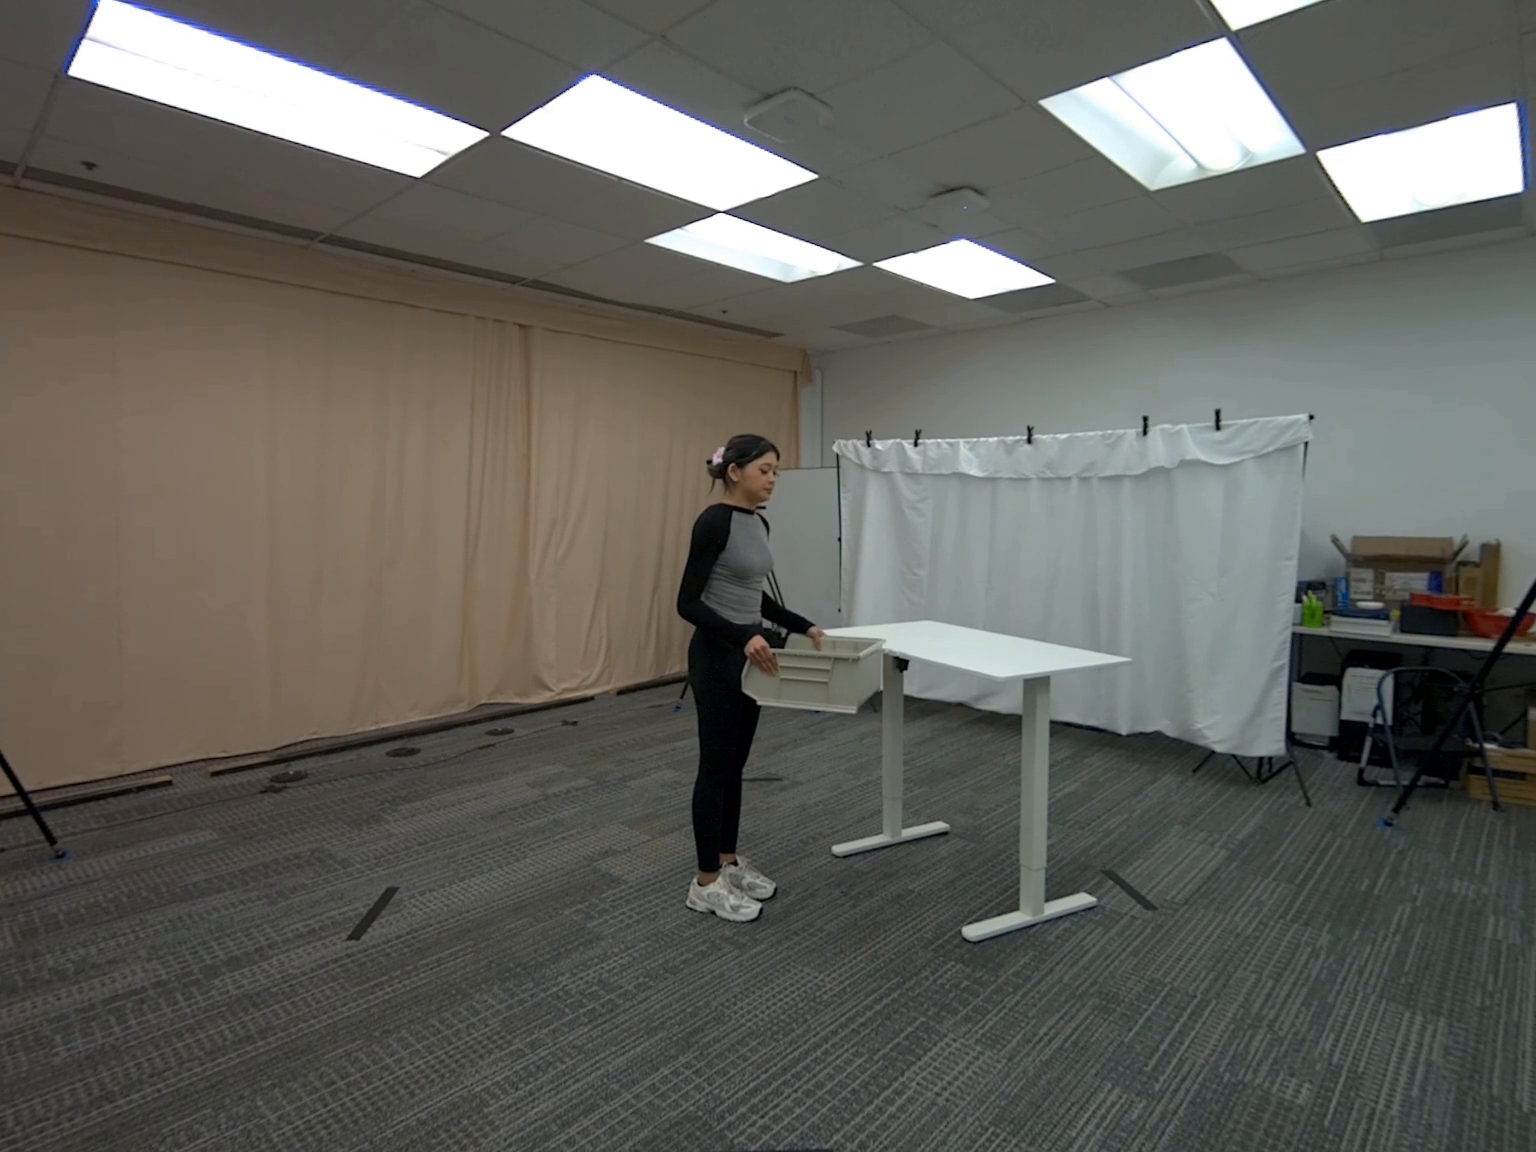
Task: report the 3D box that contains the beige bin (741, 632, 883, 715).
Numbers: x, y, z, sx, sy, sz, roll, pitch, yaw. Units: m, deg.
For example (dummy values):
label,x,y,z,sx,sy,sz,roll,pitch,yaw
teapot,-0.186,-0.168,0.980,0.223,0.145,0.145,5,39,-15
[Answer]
label,x,y,z,sx,sy,sz,roll,pitch,yaw
beige bin,0.173,0.314,2.767,0.386,0.189,0.414,4,3,20
